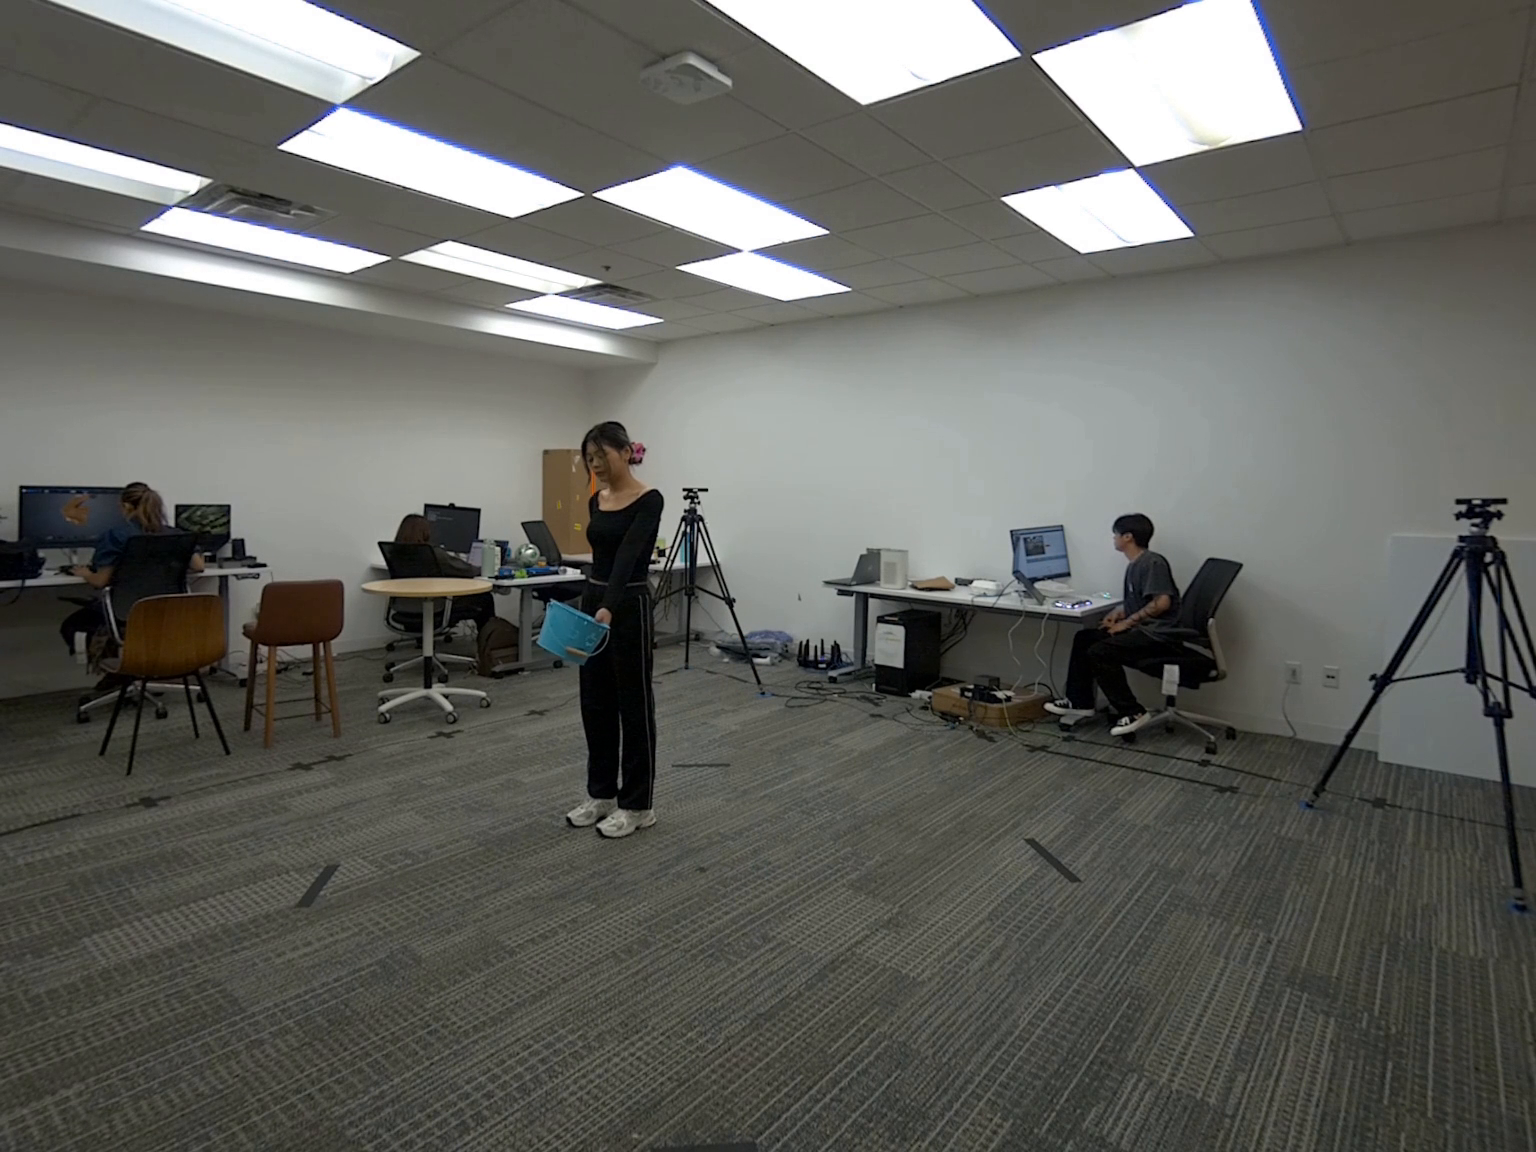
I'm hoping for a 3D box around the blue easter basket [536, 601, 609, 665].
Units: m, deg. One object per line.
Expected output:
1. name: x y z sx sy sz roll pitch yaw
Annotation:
1. blue easter basket: -0.684 0.204 2.923 0.244 0.156 0.242 25 -7 1
